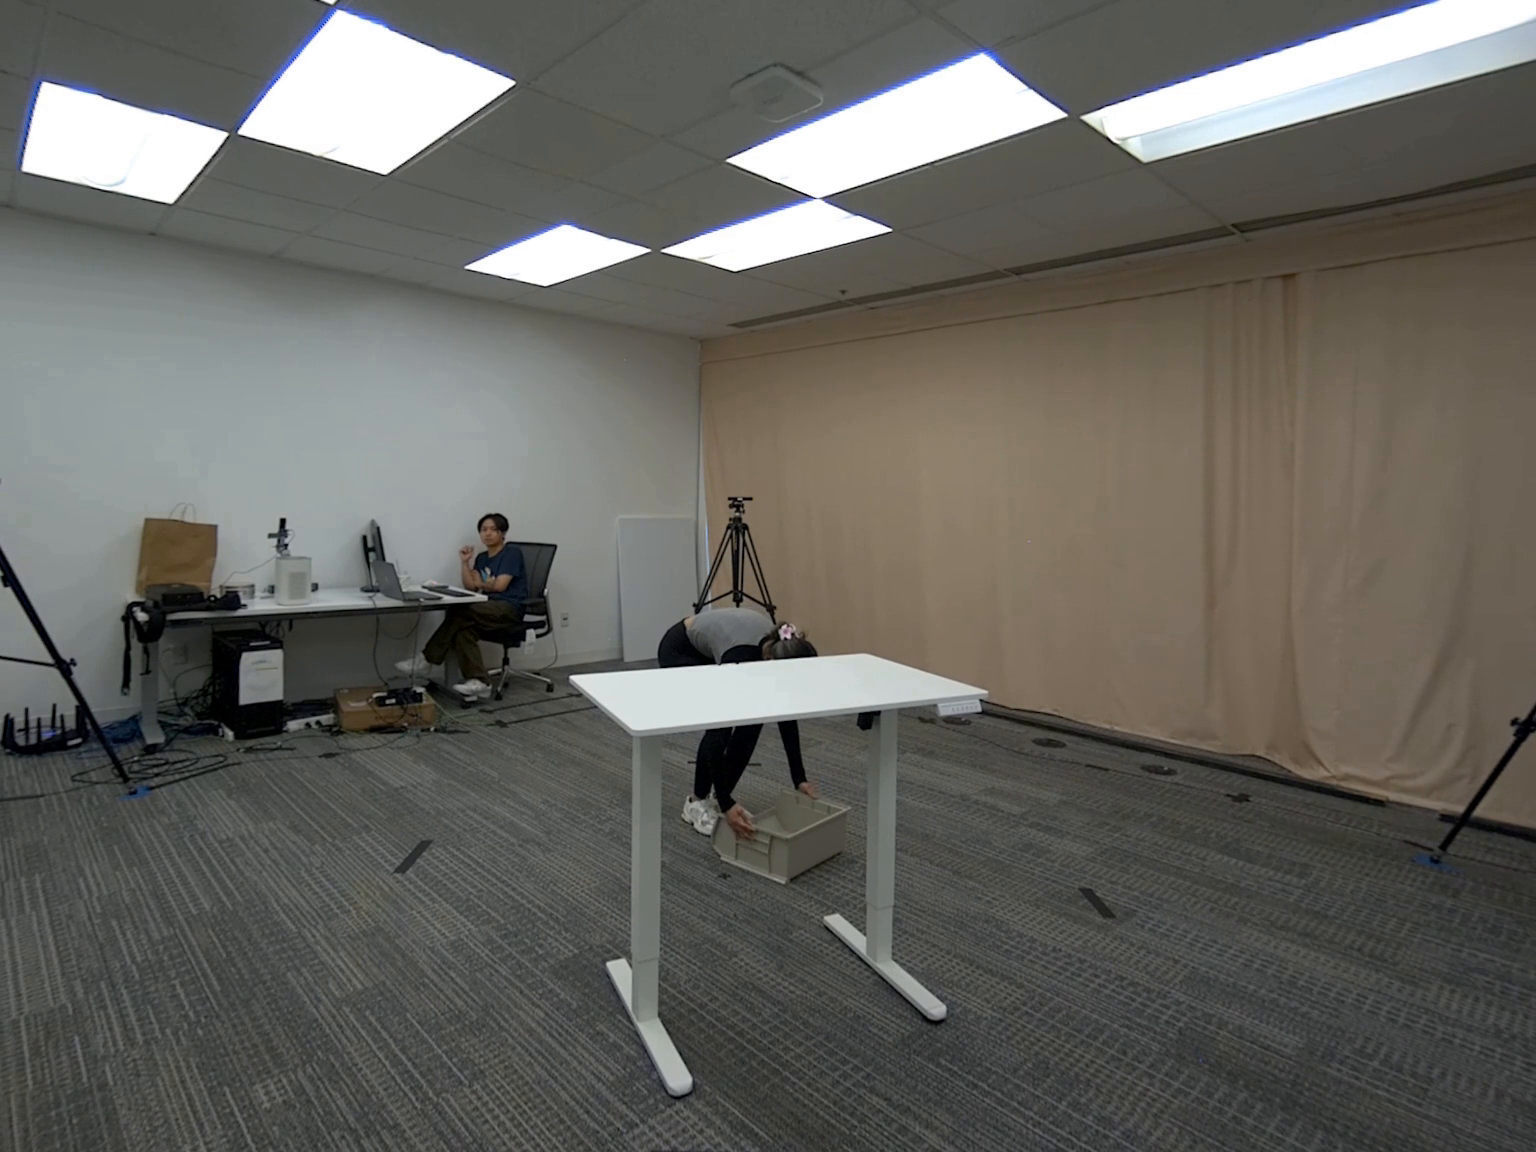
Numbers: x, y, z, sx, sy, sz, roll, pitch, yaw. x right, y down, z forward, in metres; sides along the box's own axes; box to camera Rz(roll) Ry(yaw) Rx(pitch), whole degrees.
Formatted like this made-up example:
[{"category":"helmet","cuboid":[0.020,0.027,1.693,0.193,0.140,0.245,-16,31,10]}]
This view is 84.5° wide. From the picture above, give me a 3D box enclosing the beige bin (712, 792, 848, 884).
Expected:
[{"category":"beige bin","cuboid":[0.049,1.003,3.303,0.387,0.188,0.413,6,6,39]}]
